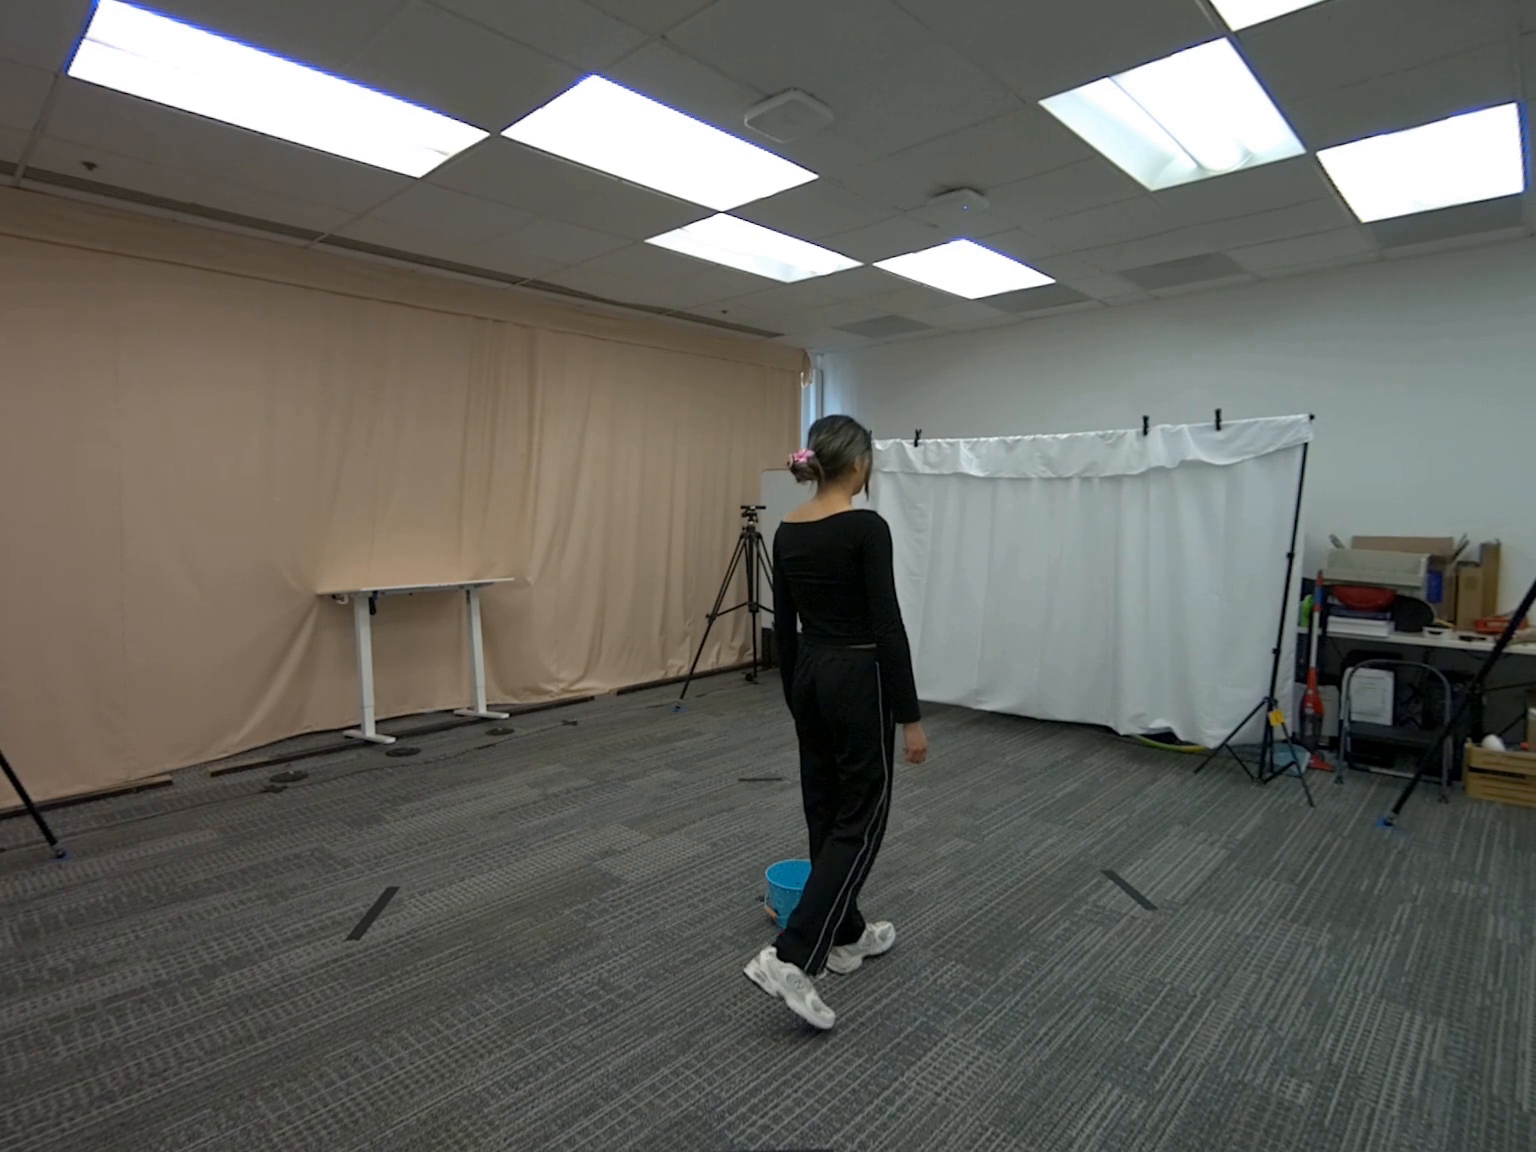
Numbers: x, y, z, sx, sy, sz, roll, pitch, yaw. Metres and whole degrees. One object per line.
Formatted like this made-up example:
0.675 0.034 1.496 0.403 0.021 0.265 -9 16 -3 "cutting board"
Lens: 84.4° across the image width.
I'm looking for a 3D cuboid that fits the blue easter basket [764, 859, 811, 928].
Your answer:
0.107 1.077 2.840 0.243 0.155 0.244 0 4 -2 "blue easter basket"
